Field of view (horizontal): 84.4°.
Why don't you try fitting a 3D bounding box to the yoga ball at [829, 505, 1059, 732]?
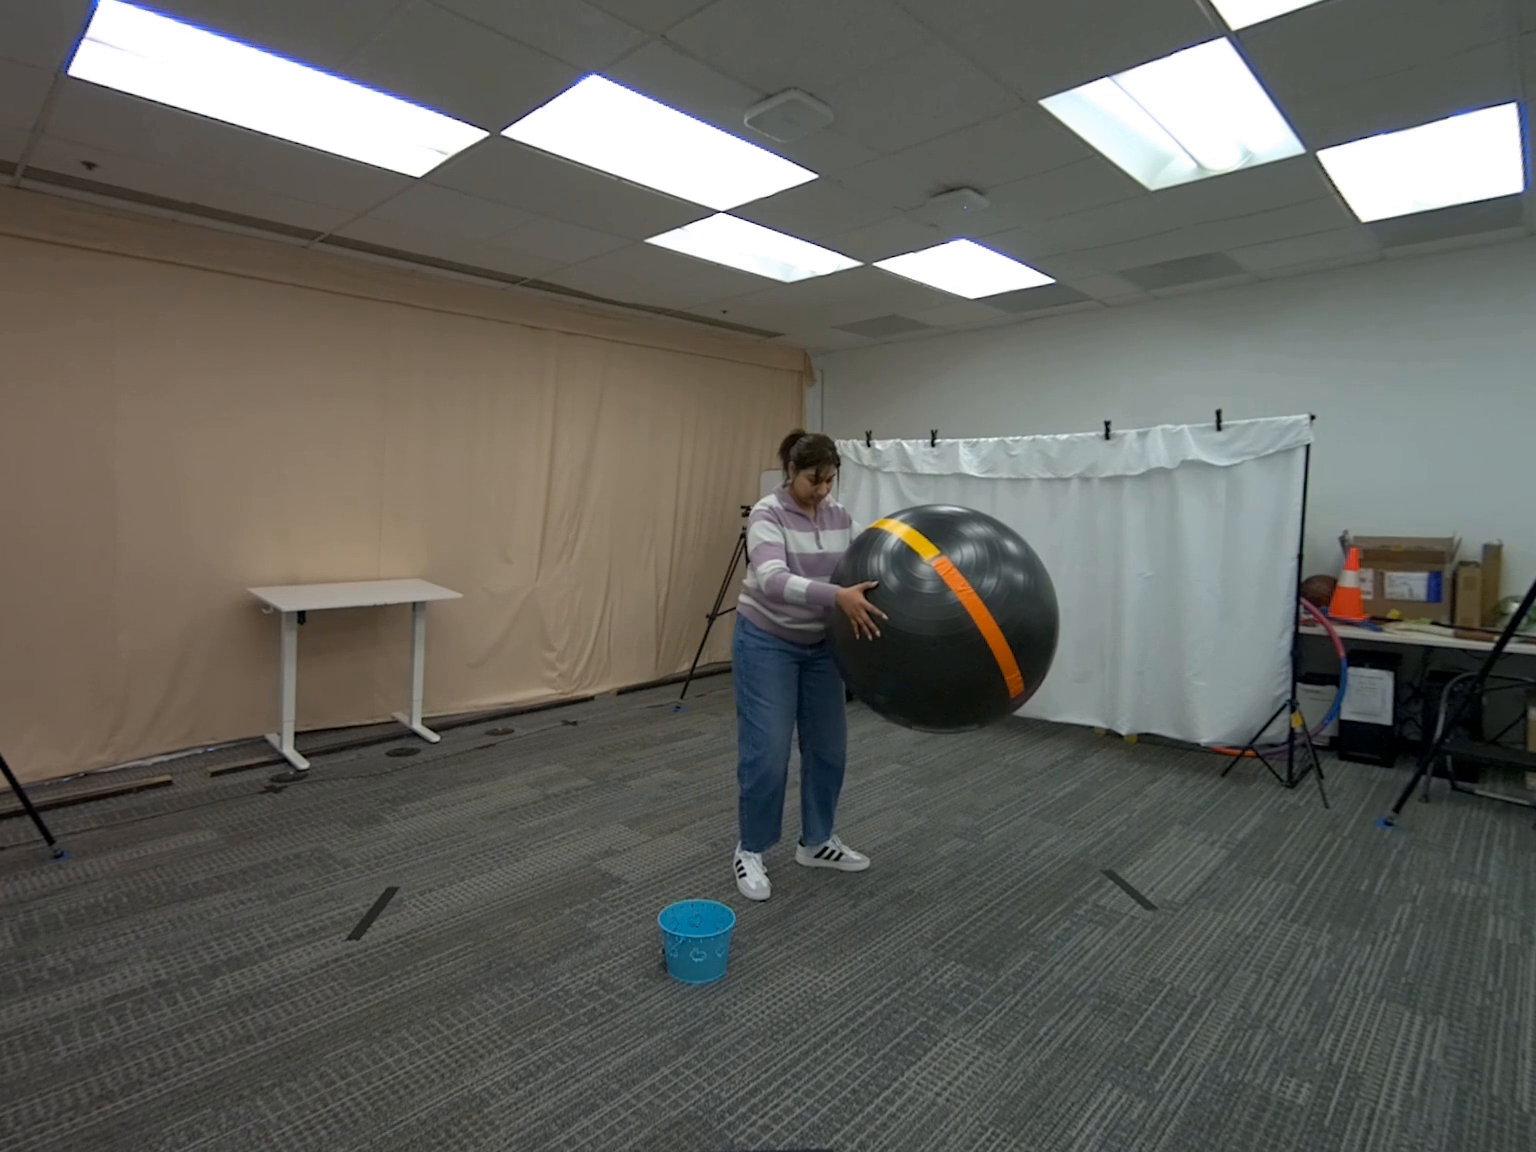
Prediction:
[{"bbox_3d":[0.578,0.147,2.807,0.757,0.756,0.761,0,4,-2],"label":"yoga ball"}]
